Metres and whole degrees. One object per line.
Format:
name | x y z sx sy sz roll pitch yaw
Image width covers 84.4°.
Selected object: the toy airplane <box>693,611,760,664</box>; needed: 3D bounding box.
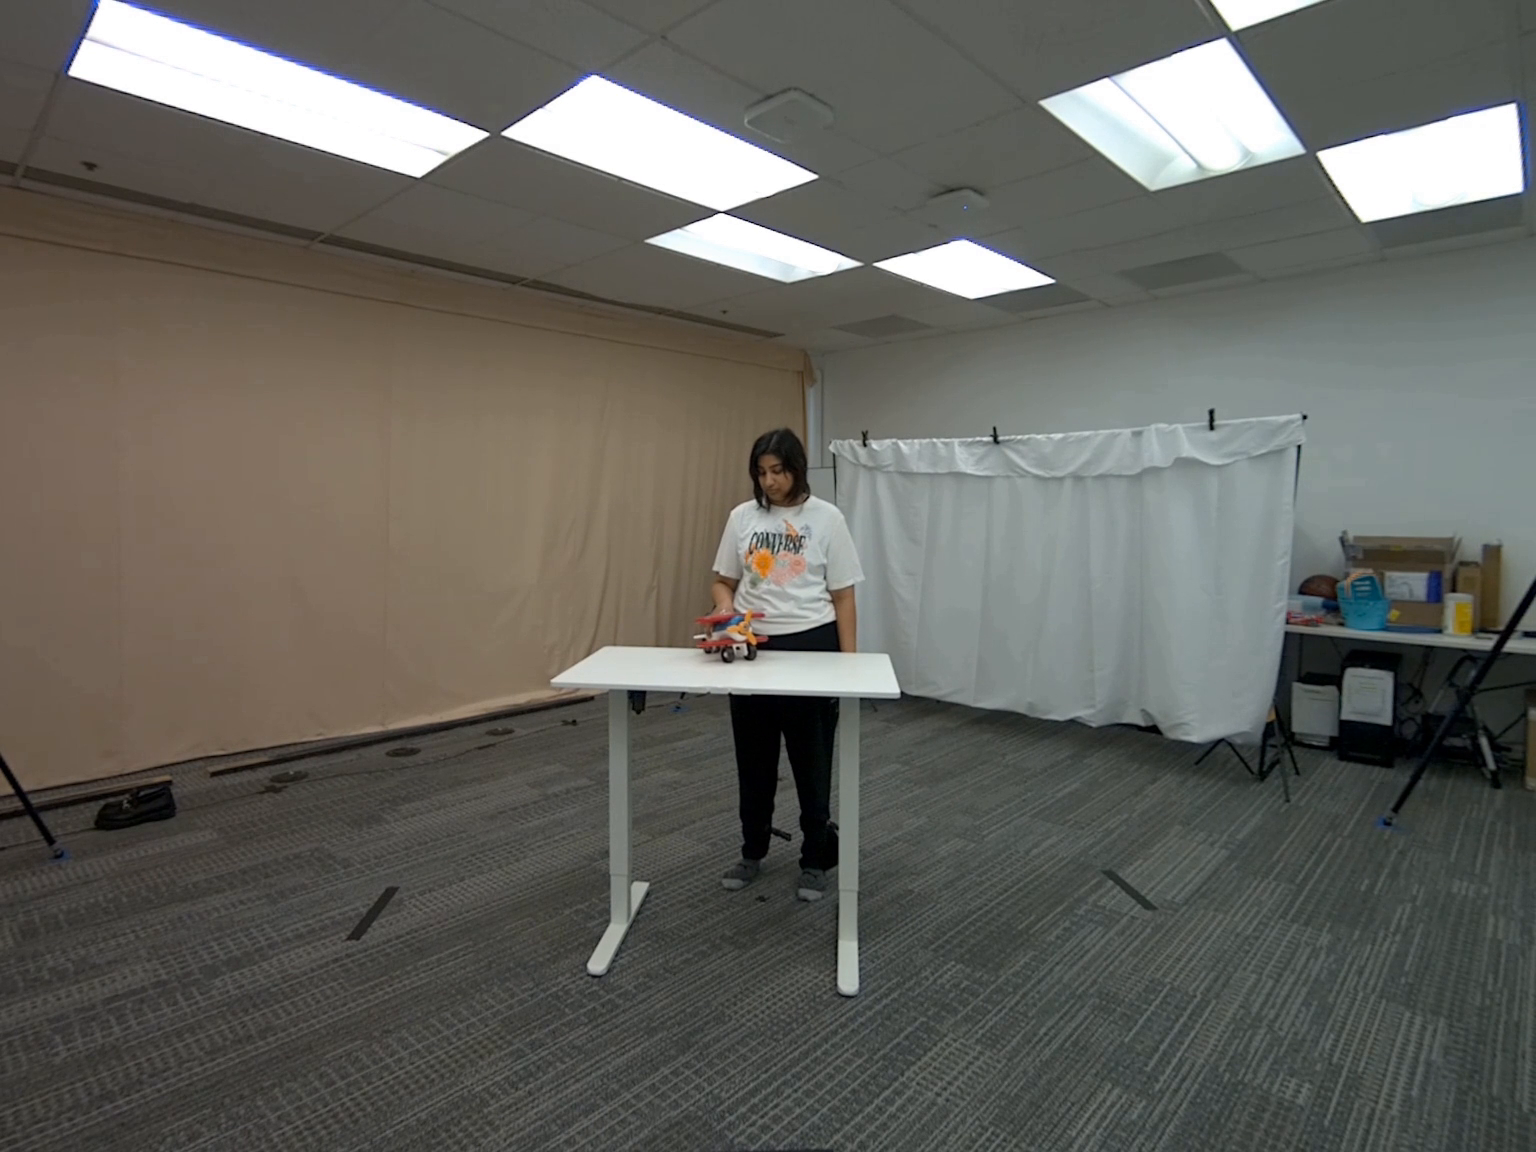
toy airplane | -0.152 0.199 2.822 0.267 0.156 0.244 3 5 29
